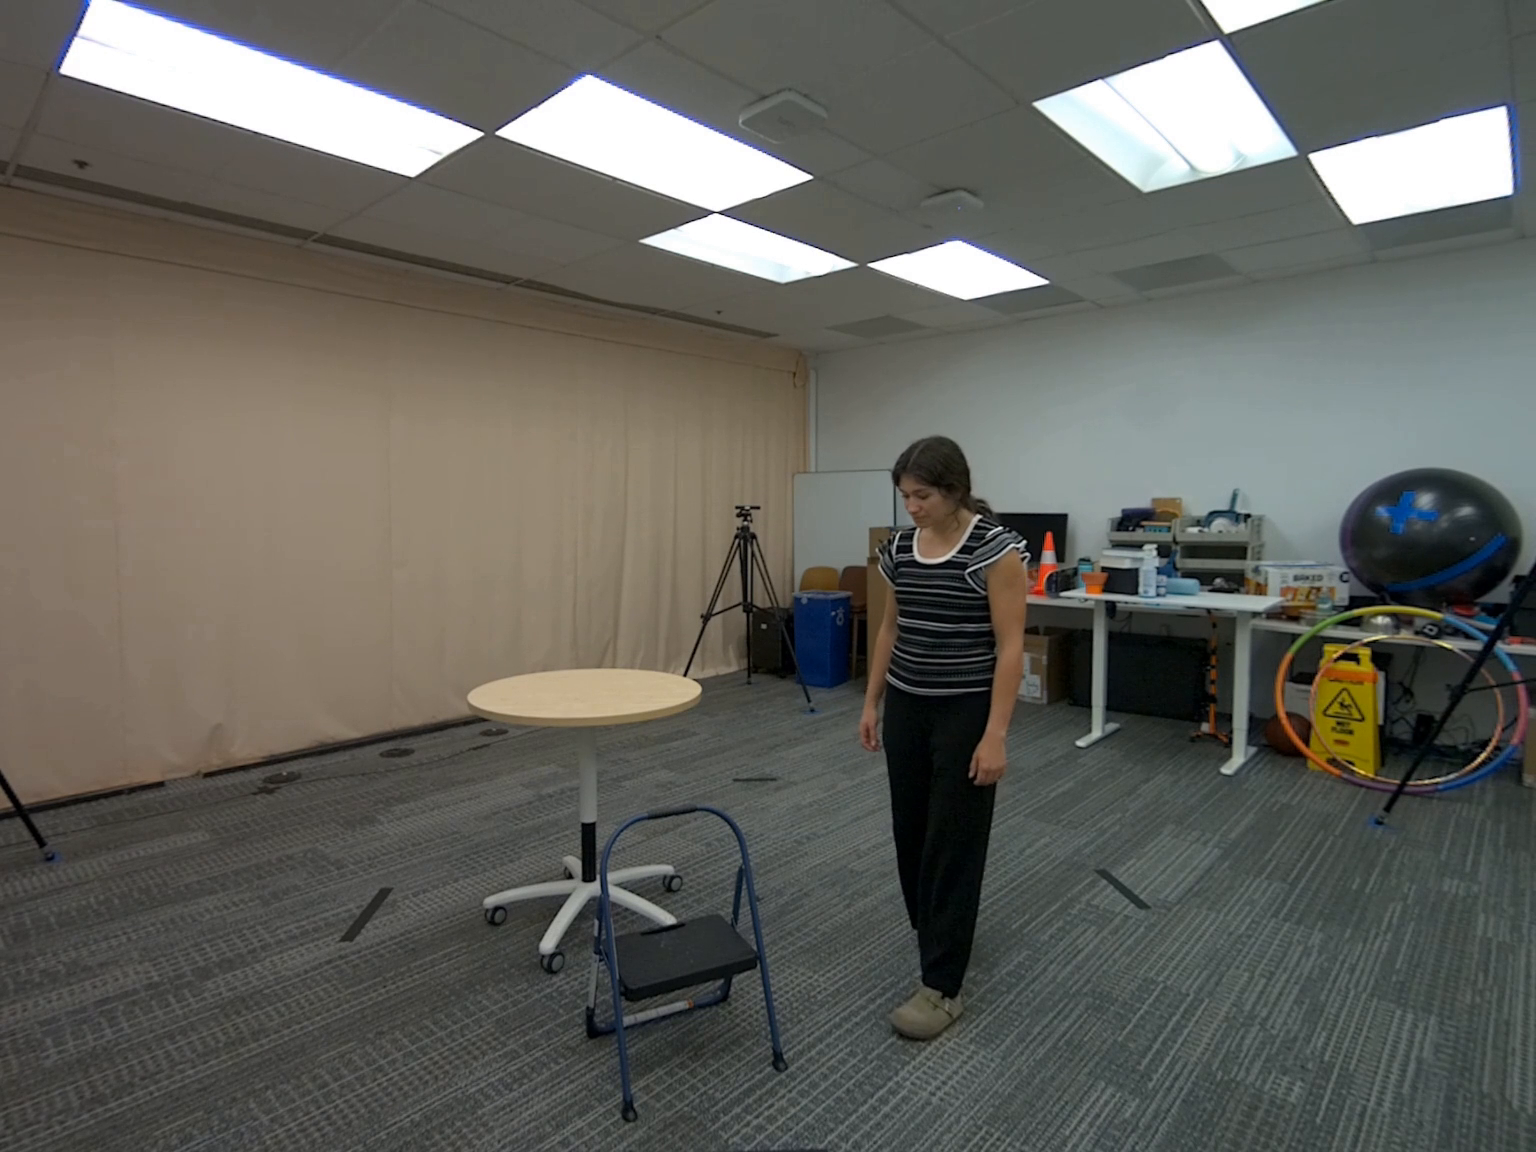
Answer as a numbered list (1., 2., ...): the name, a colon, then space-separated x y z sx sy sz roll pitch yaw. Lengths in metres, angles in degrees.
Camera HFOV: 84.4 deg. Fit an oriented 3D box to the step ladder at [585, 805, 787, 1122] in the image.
1. step ladder: -0.214 0.918 2.131 0.420 0.605 0.359 -1 4 -28
